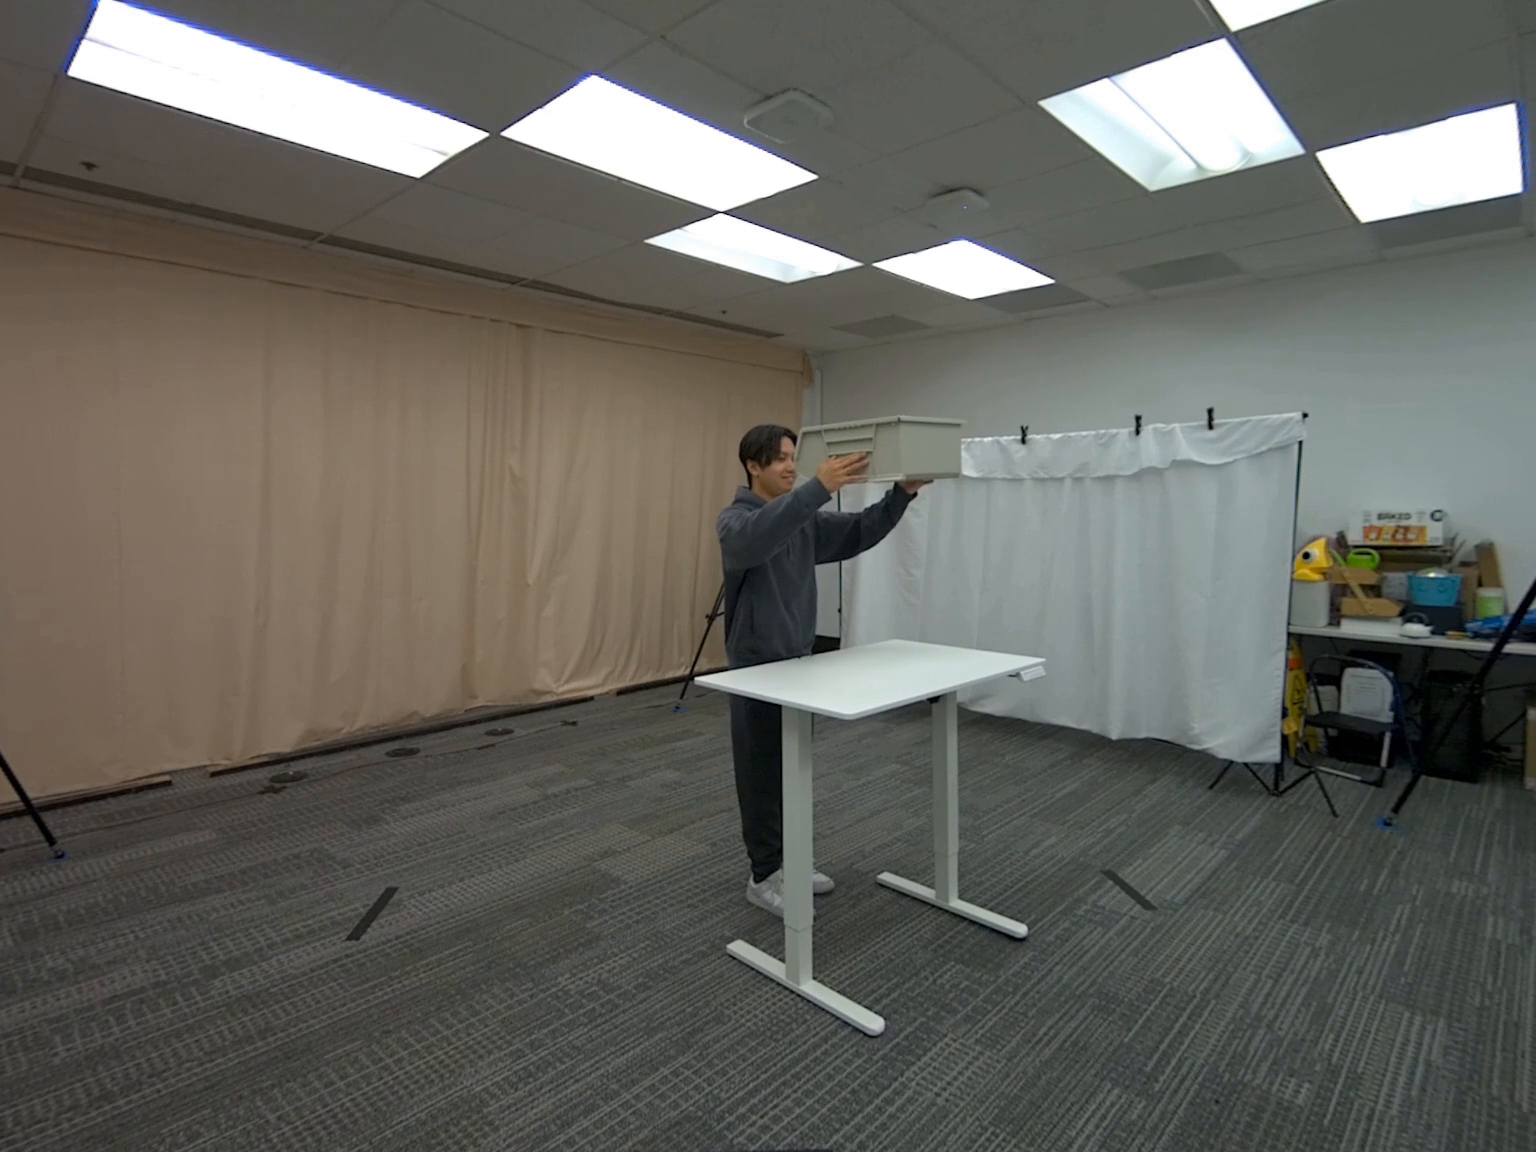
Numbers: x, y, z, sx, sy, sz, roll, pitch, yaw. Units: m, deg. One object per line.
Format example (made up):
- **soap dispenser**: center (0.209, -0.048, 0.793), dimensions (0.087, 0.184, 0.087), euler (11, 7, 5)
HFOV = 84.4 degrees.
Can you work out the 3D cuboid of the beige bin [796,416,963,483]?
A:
- **beige bin**: center (0.360, -0.375, 2.630), dimensions (0.389, 0.188, 0.410), euler (1, 6, 39)
